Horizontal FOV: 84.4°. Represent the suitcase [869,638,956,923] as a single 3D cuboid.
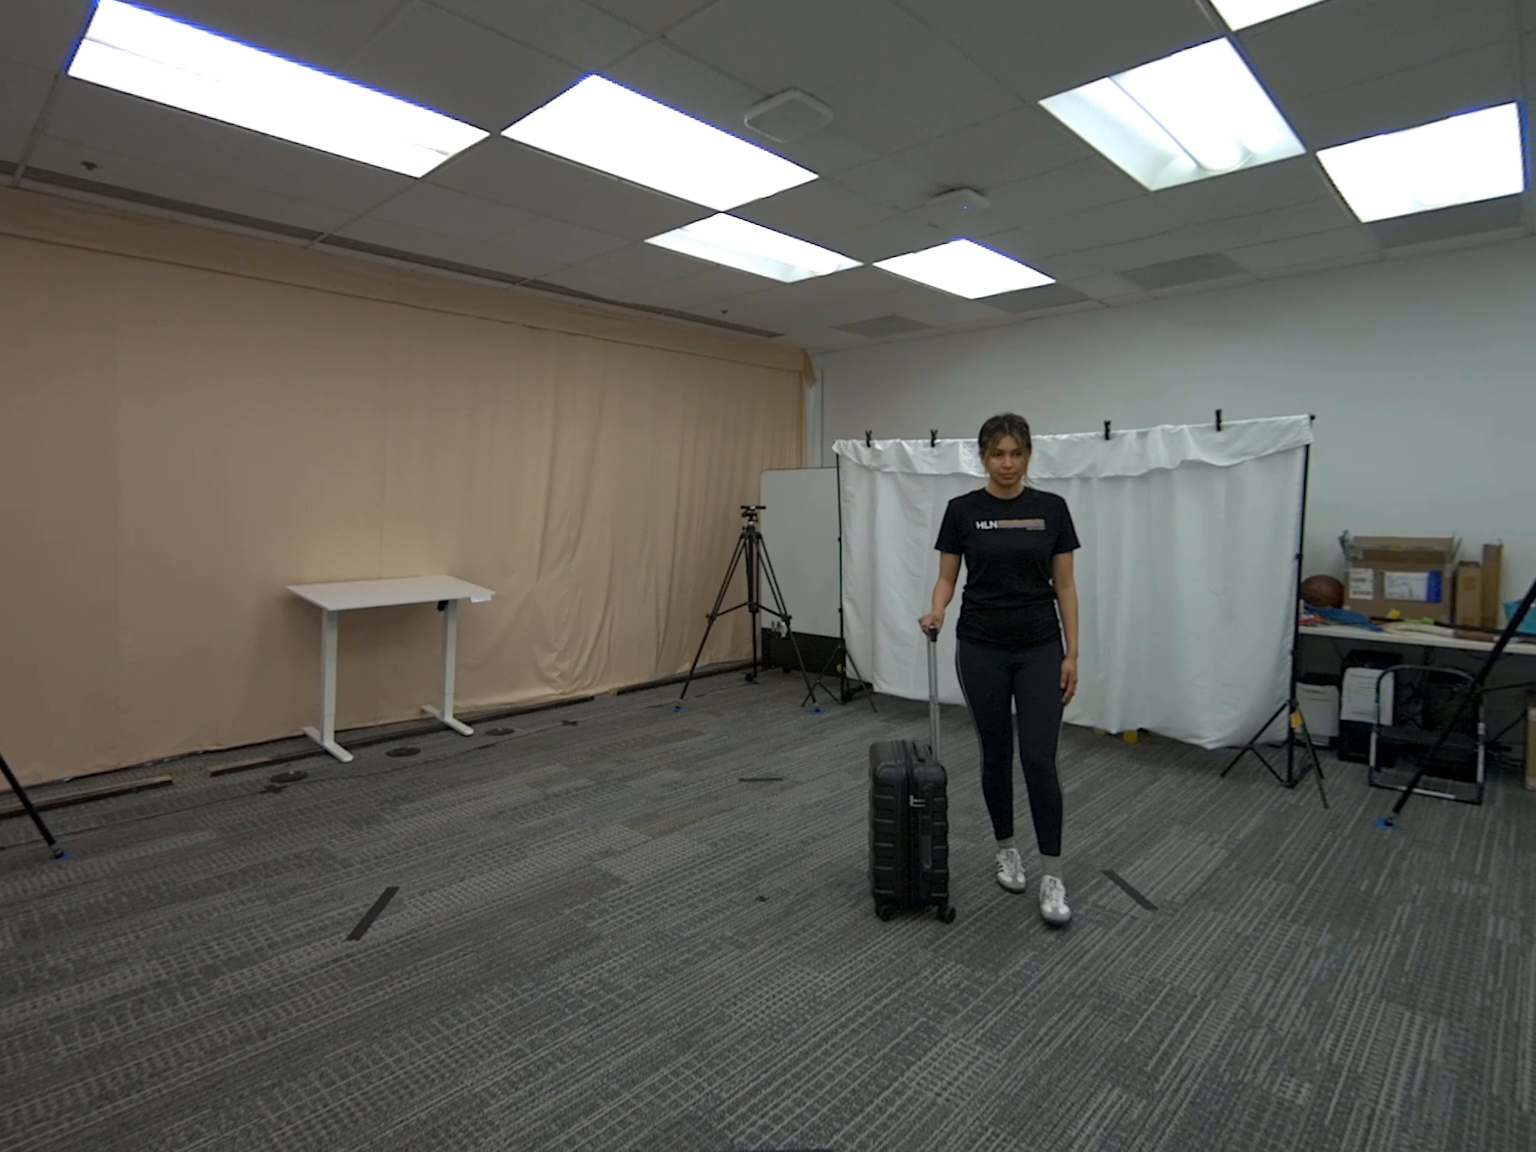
[{"bbox_3d":[0.482,0.673,2.930,0.259,0.976,0.383,-2,4,4],"label":"suitcase"}]
